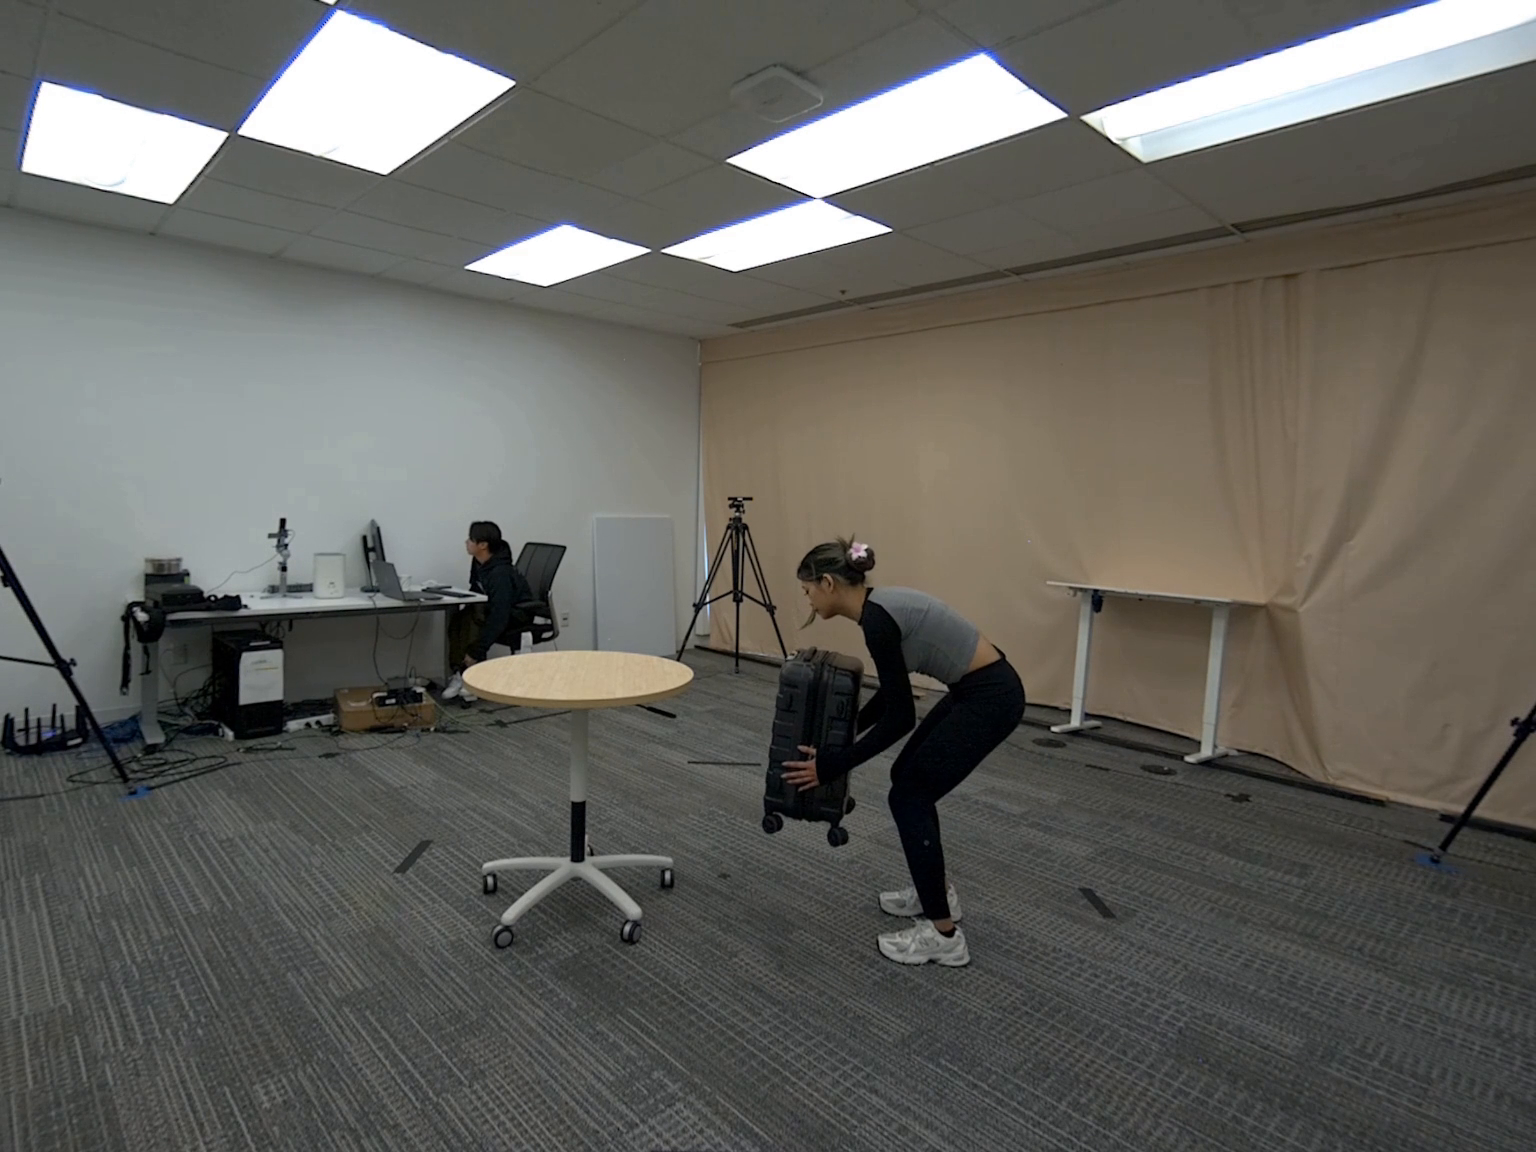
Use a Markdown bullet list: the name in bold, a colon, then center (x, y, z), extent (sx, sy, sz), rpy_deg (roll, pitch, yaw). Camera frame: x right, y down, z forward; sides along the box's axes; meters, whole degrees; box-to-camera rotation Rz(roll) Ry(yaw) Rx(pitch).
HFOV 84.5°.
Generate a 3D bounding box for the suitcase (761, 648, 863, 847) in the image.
- **suitcase**: center (0.153, 0.519, 2.730), extent (0.250, 0.548, 0.373), rpy_deg (4, 3, 10)
